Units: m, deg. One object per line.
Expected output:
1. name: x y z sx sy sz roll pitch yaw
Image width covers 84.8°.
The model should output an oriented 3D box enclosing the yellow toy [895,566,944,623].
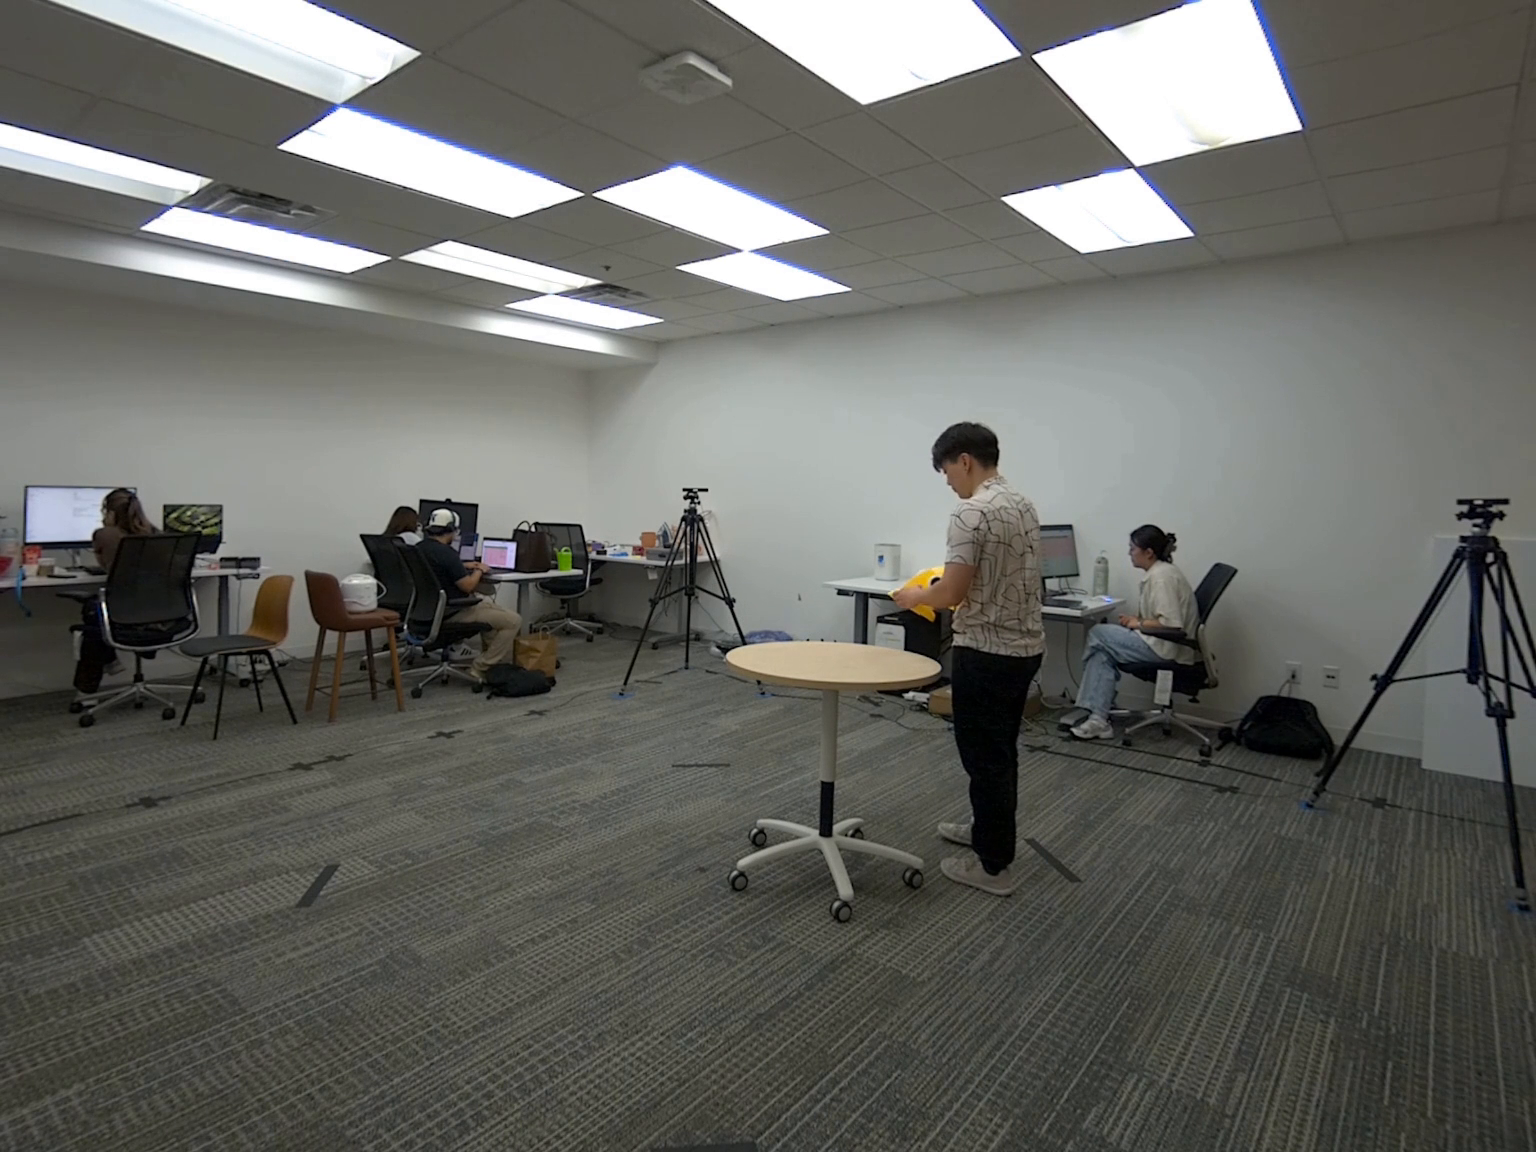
1. yellow toy: 0.619 0.026 3.299 0.188 0.230 0.211 32 1 -22
